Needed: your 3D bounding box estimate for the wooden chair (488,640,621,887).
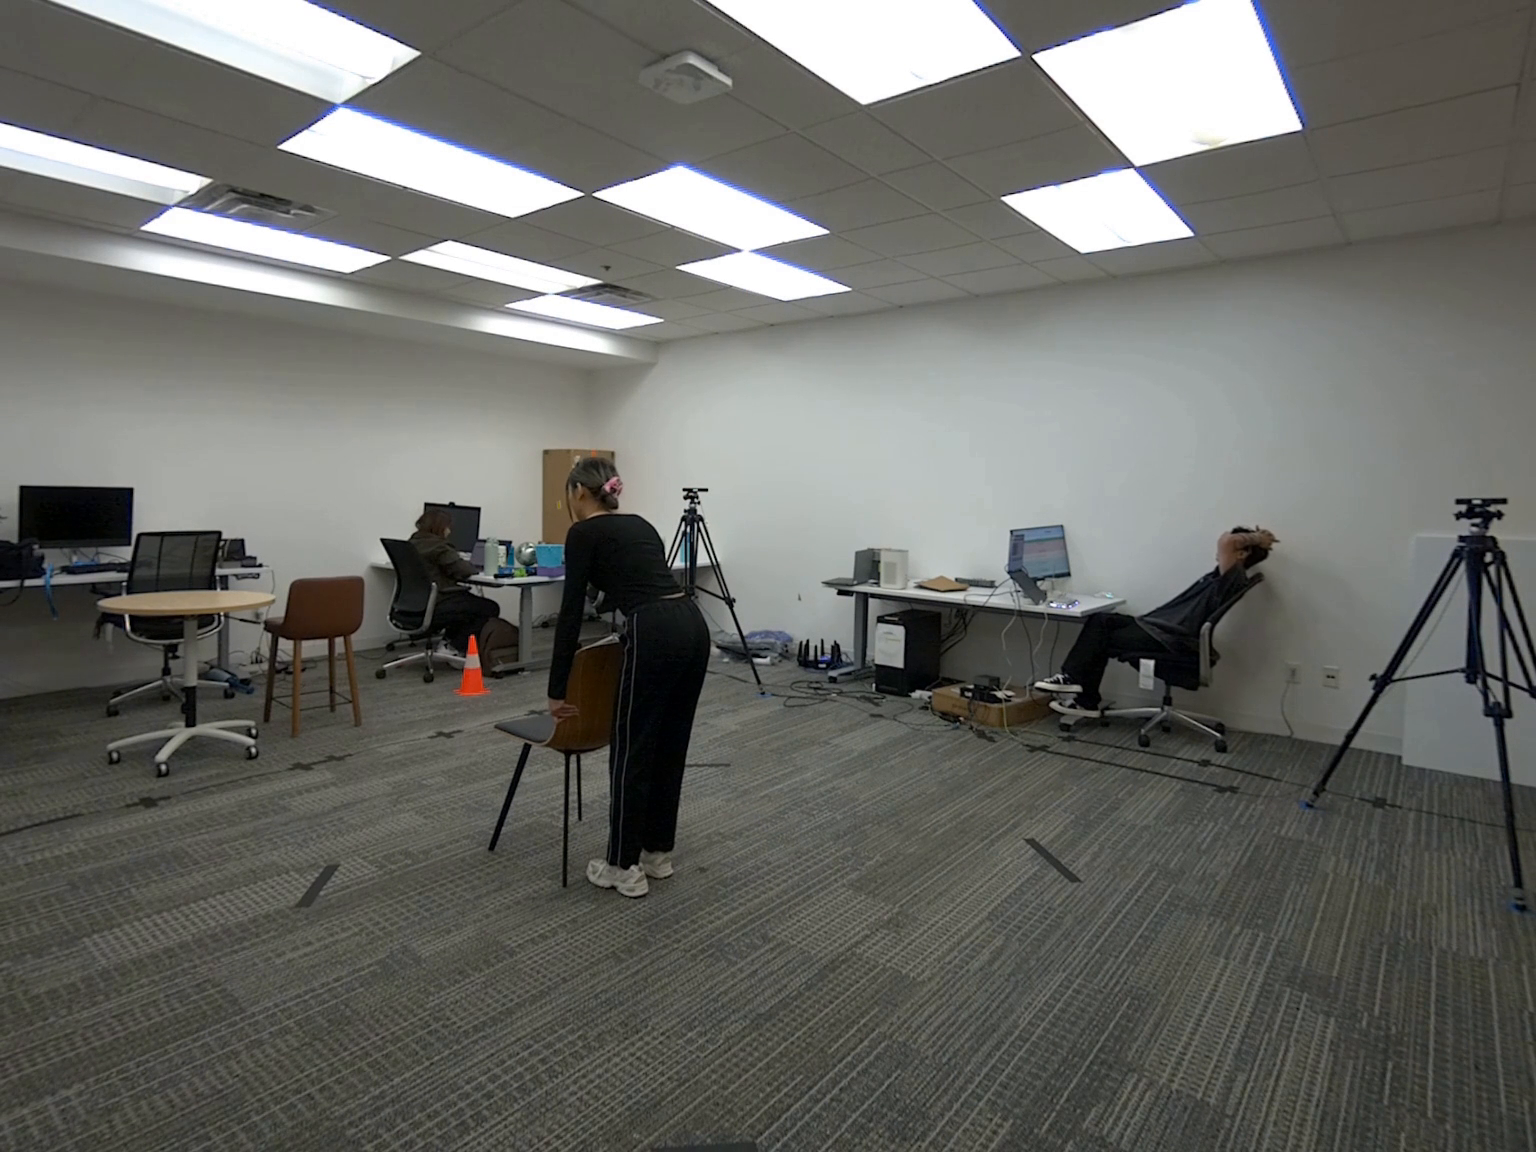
[{"bbox_3d":[-0.759,0.620,3.235,0.542,0.872,0.464,10,8,39],"label":"wooden chair"}]
